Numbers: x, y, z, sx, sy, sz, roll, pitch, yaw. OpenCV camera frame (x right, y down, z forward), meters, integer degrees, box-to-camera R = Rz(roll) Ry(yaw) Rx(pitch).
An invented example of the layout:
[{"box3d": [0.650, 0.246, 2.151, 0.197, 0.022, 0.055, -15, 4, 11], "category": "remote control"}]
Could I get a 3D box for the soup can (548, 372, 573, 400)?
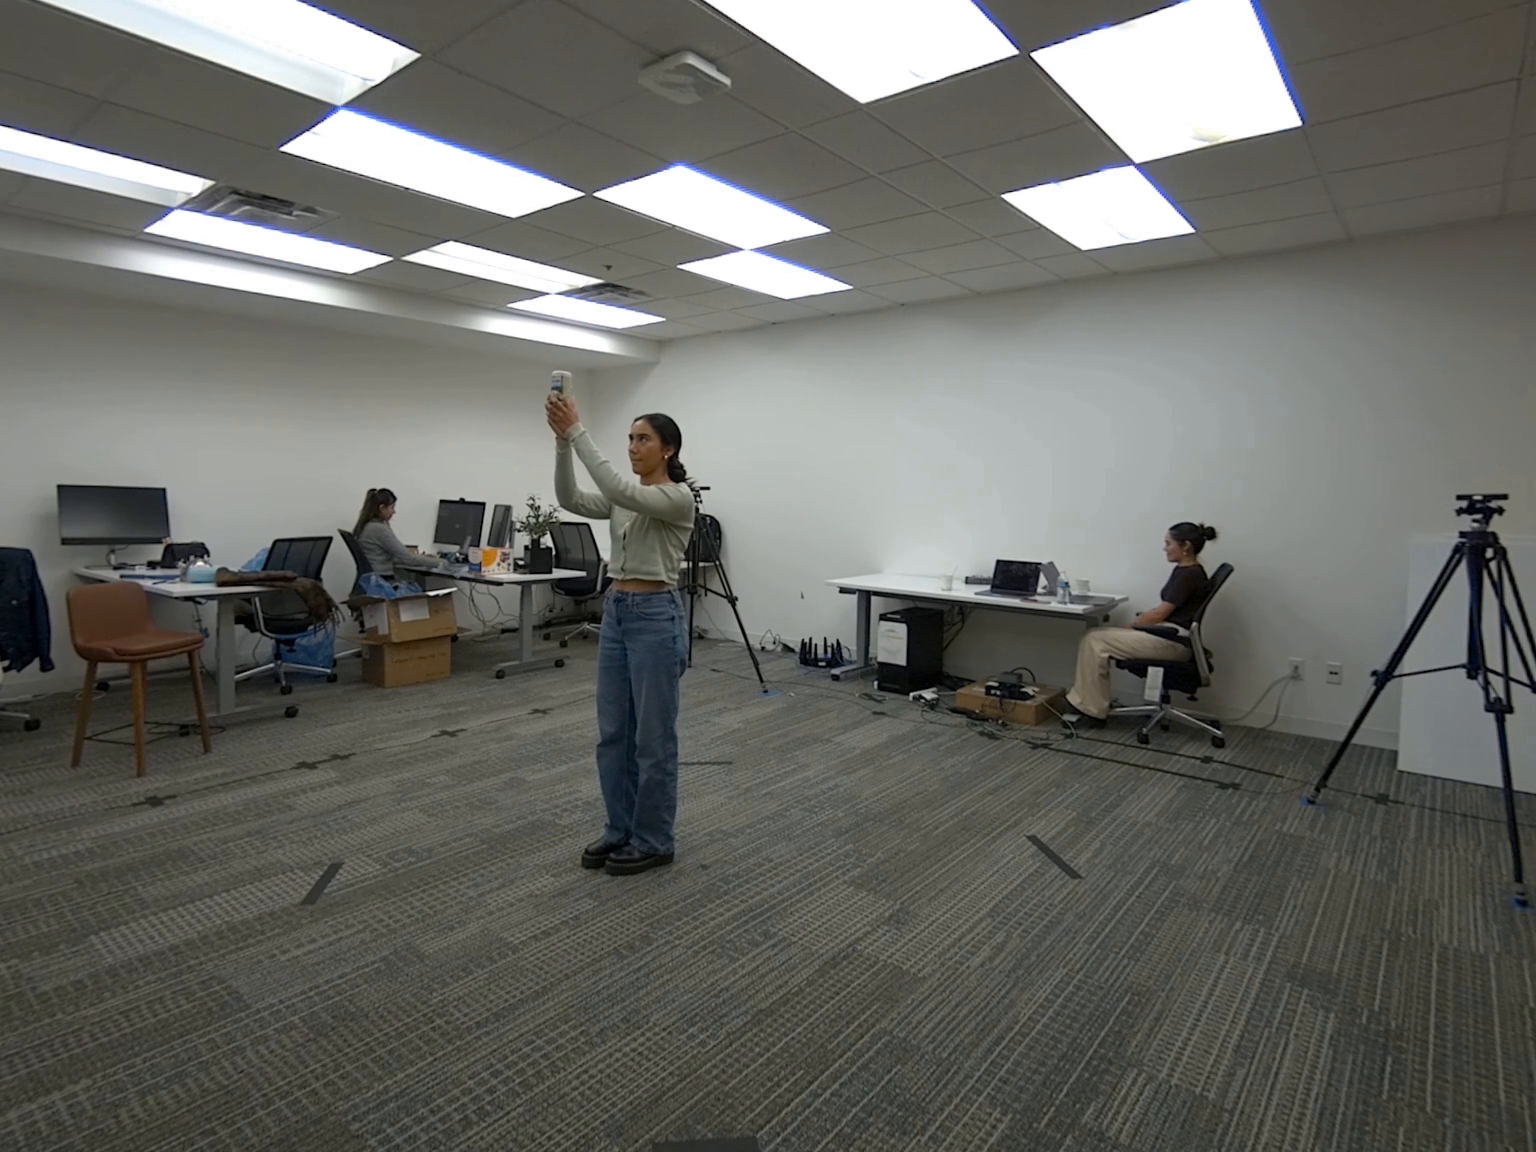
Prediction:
[{"box3d": [-0.713, -0.634, 2.886, 0.067, 0.122, 0.067, 1, -1, -2], "category": "soup can"}]
